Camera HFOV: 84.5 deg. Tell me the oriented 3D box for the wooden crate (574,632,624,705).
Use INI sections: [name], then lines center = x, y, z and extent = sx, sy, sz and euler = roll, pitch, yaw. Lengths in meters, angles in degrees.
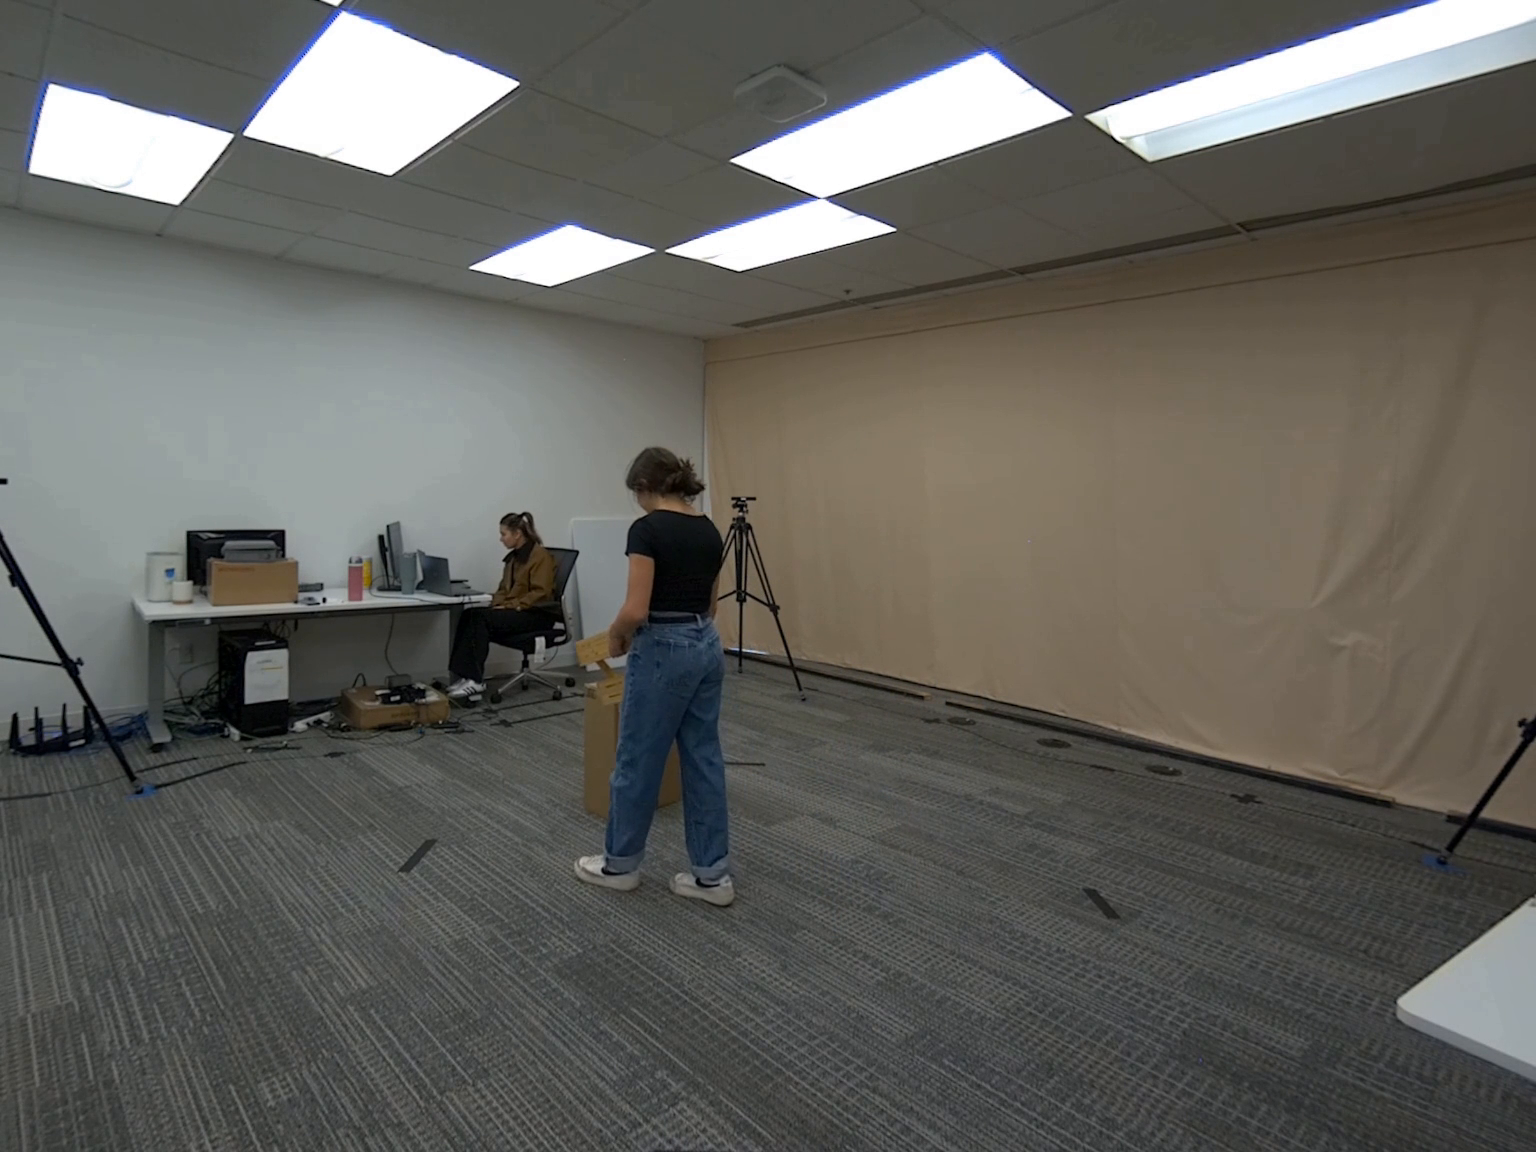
[wooden crate]
center = -0.512, 0.306, 3.182
extent = 0.296, 0.276, 0.328
euler = -9, -14, -46
